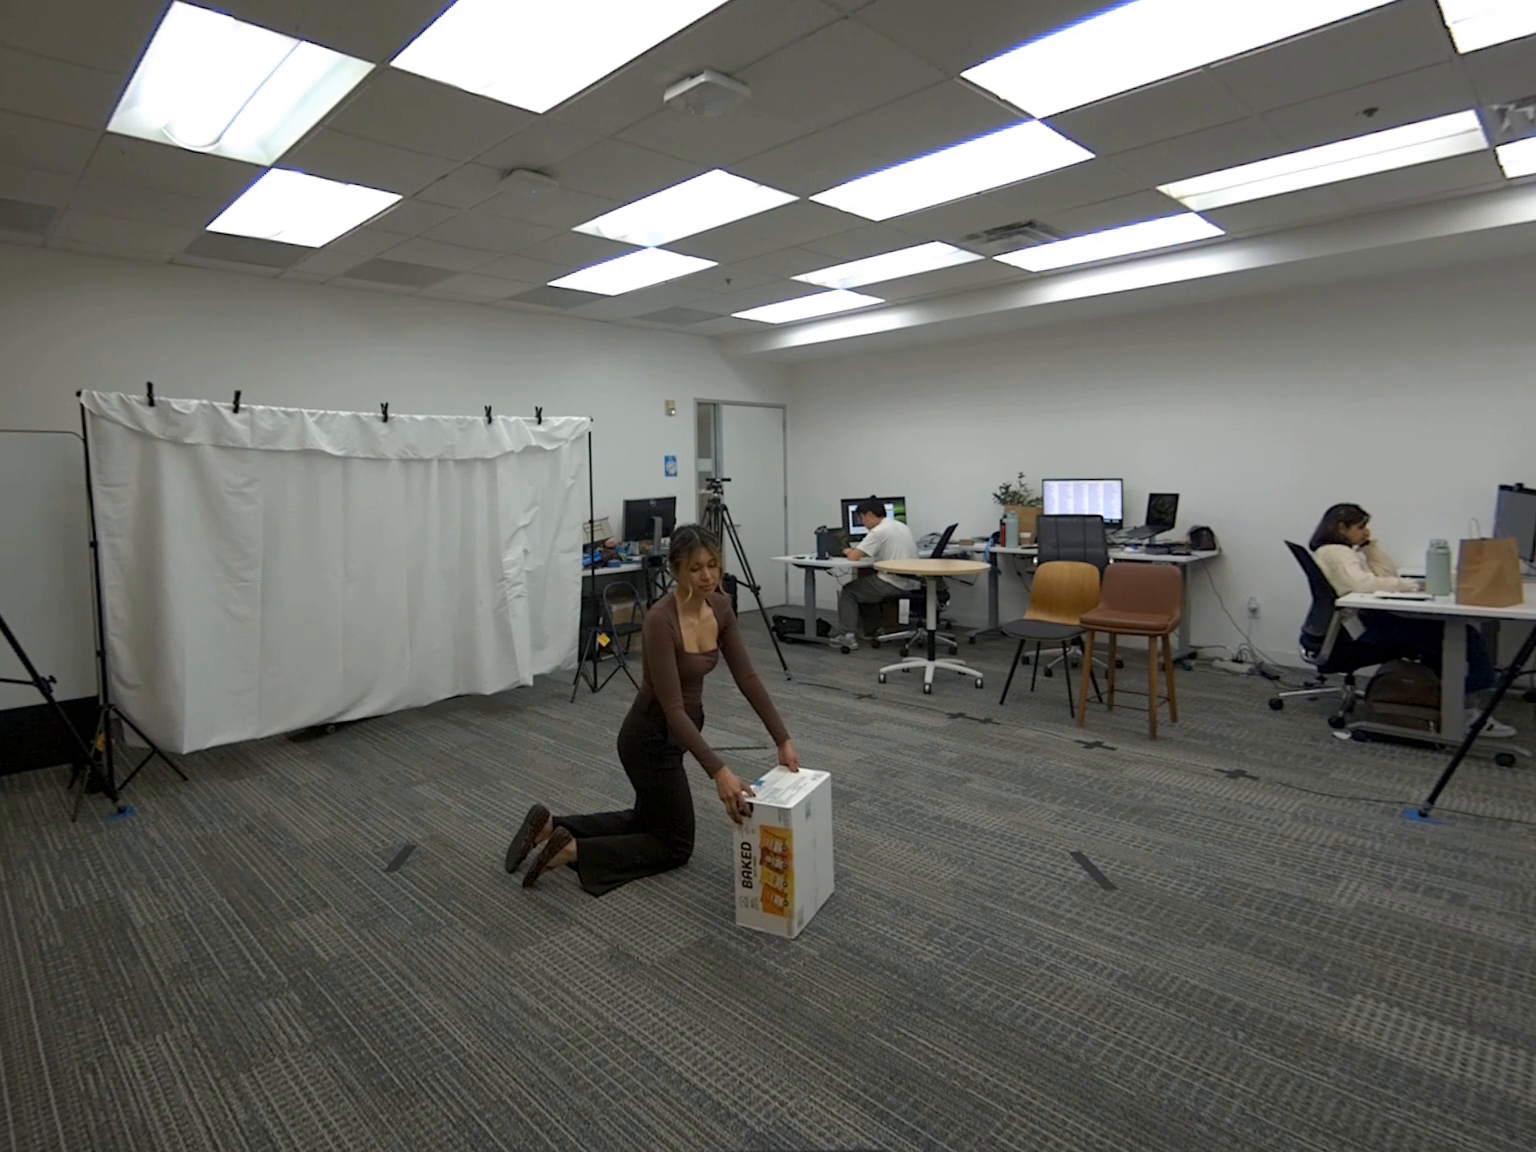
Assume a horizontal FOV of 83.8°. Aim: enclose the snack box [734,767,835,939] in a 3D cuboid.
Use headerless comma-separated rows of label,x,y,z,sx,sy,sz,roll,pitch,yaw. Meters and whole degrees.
snack box,0.062,0.879,2.765,0.210,0.404,0.333,0,4,26
